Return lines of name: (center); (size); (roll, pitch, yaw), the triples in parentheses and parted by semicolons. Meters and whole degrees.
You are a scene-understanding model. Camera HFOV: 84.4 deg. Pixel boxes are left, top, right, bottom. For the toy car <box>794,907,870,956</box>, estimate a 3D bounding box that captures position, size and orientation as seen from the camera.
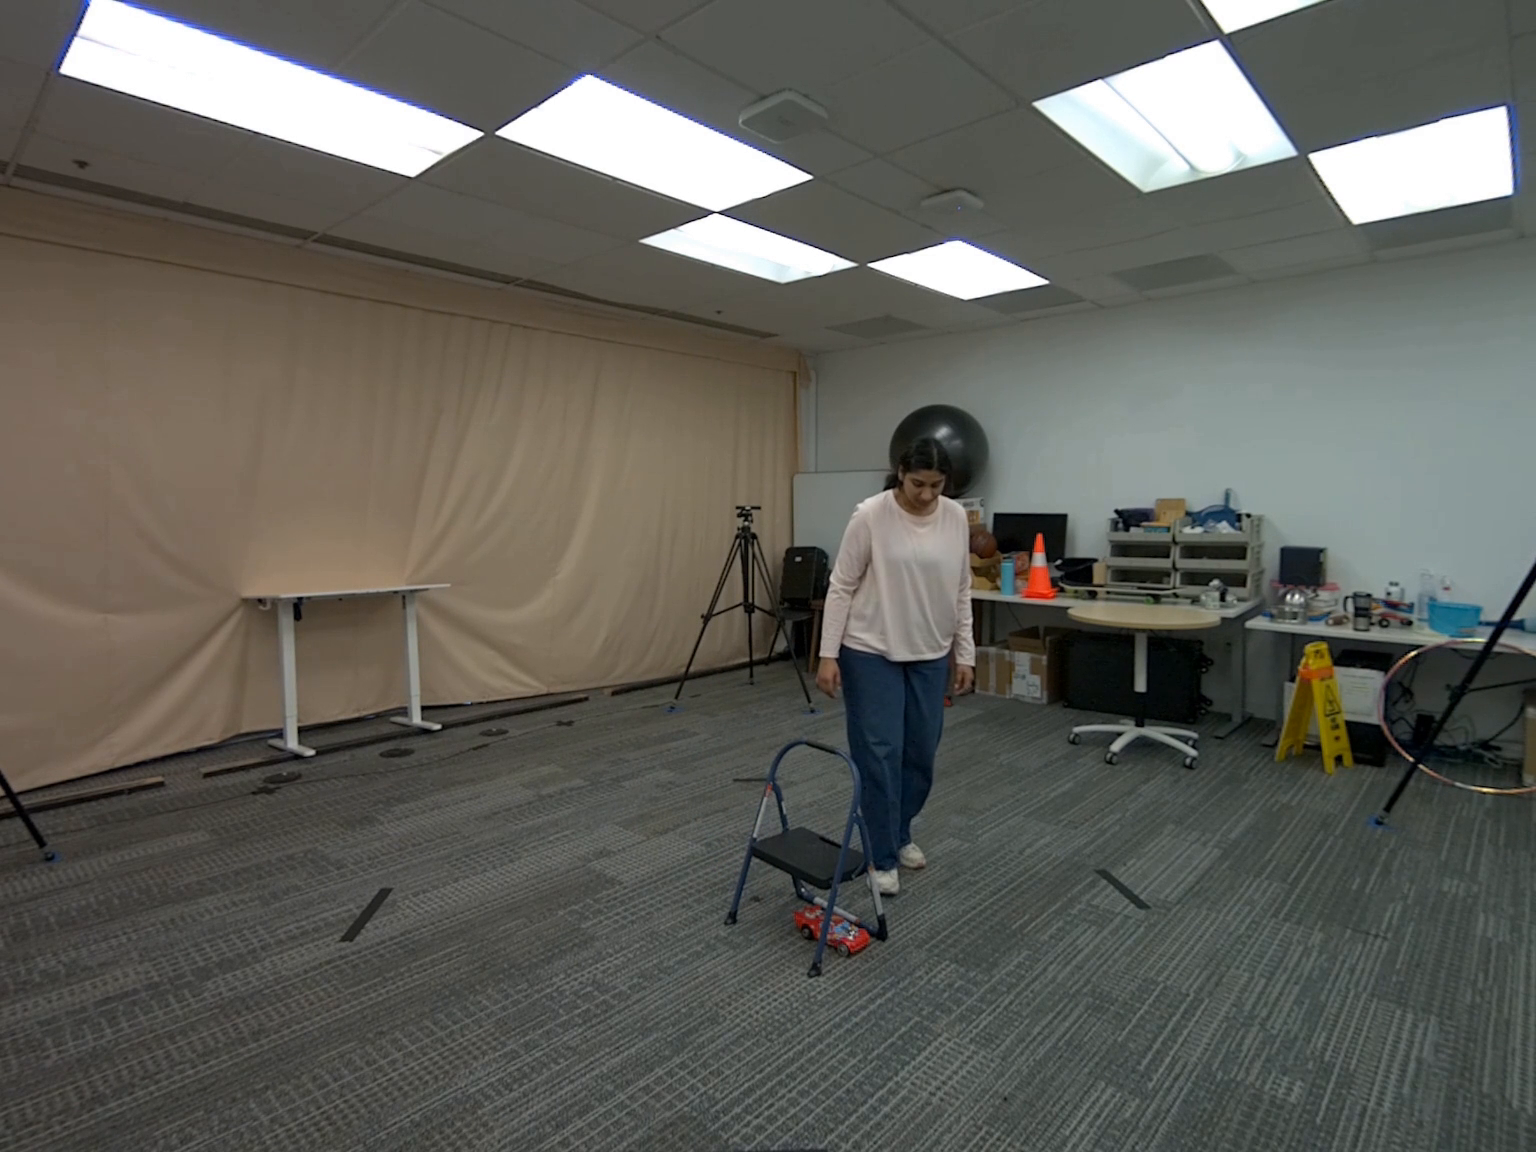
toy car: (0.202, 1.130, 2.706); (0.126, 0.083, 0.264); (-5, 17, -45)
